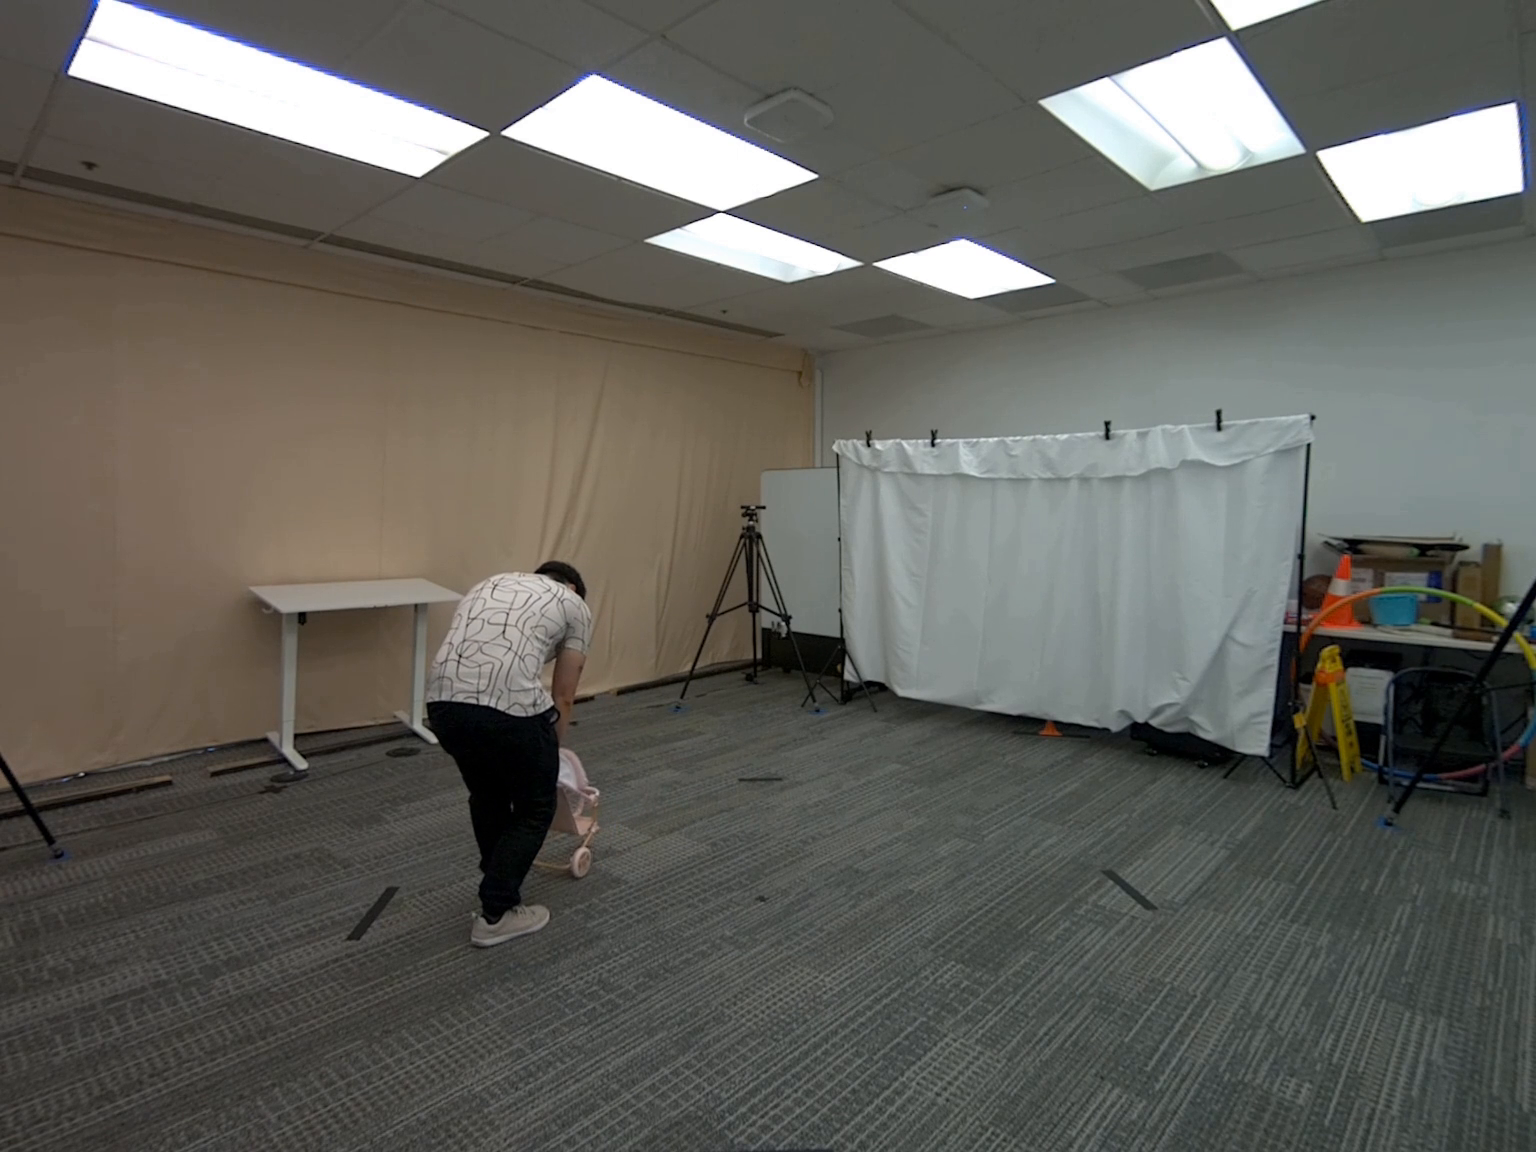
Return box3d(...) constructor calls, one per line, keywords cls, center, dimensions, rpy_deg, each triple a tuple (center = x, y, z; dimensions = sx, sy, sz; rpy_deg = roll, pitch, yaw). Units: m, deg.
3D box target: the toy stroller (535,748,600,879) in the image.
box3d(cls="toy stroller", center=(-0.794, 0.898, 3.265), dimensions=(0.288, 0.528, 0.337), rpy_deg=(4, 19, 24))
